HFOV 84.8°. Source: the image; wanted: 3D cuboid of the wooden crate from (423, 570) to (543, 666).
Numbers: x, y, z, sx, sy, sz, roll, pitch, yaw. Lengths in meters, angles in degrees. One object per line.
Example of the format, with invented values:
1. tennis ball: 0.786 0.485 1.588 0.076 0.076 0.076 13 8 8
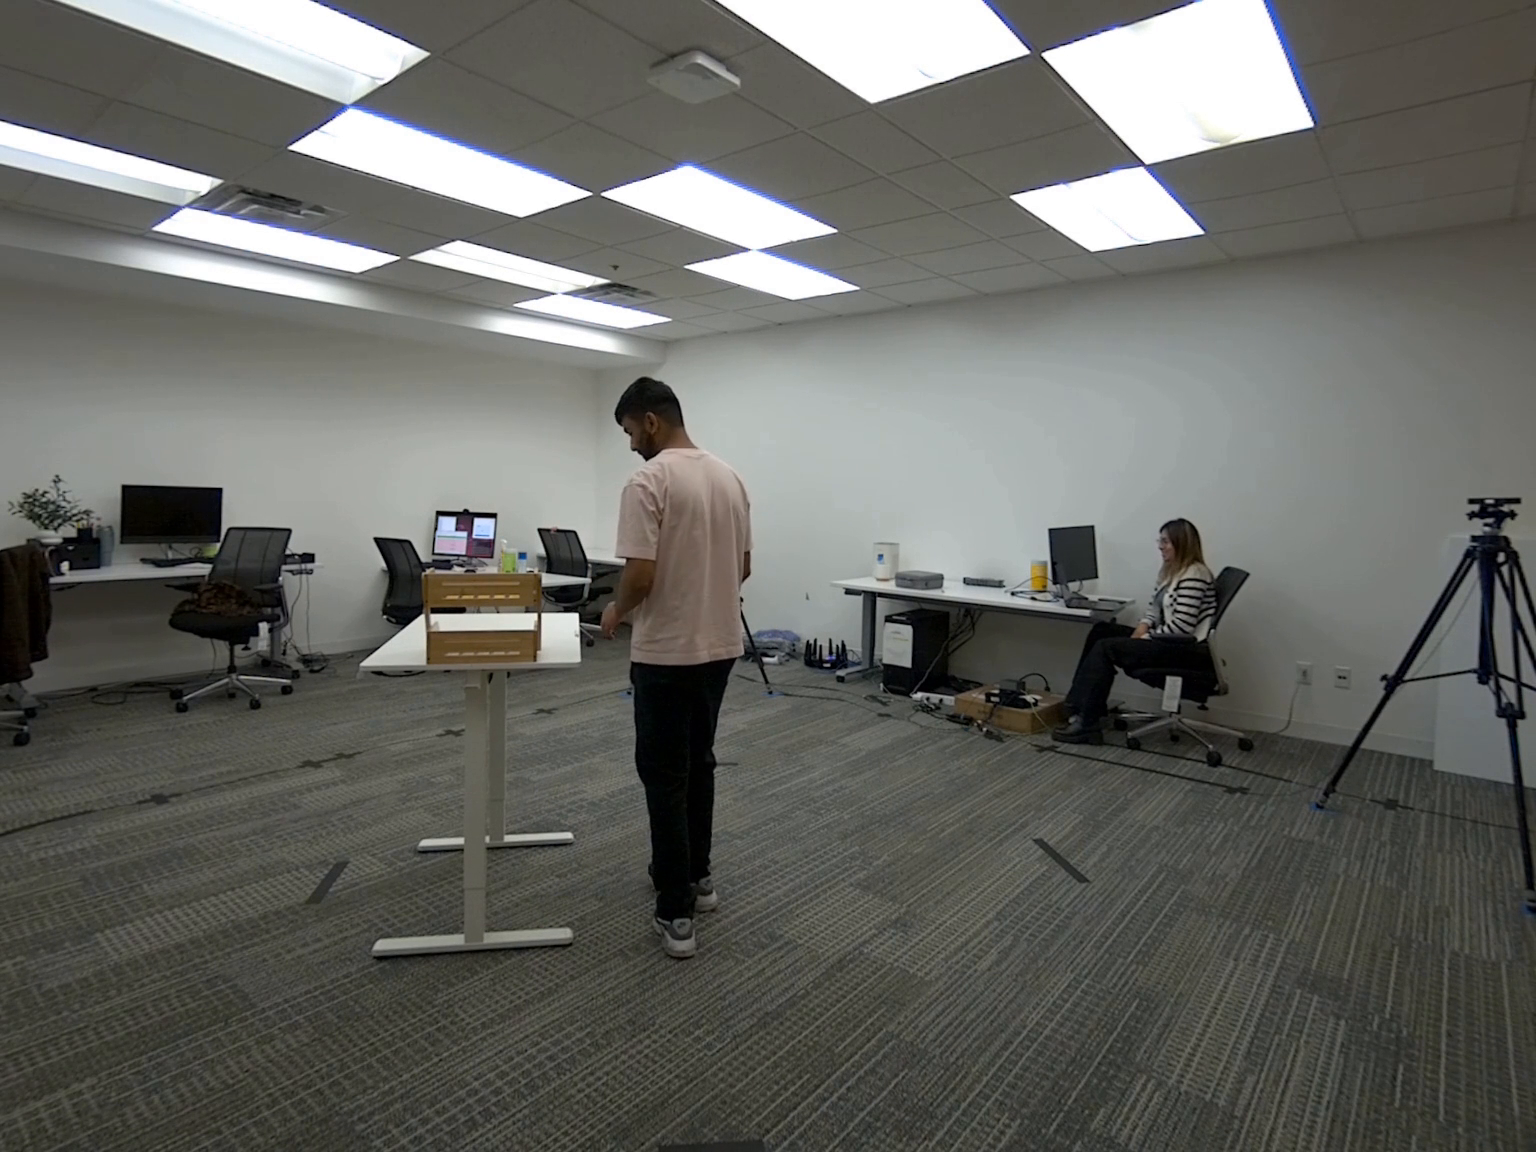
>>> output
1. wooden crate: -0.839 0.098 2.490 0.320 0.272 0.308 0 6 -13
